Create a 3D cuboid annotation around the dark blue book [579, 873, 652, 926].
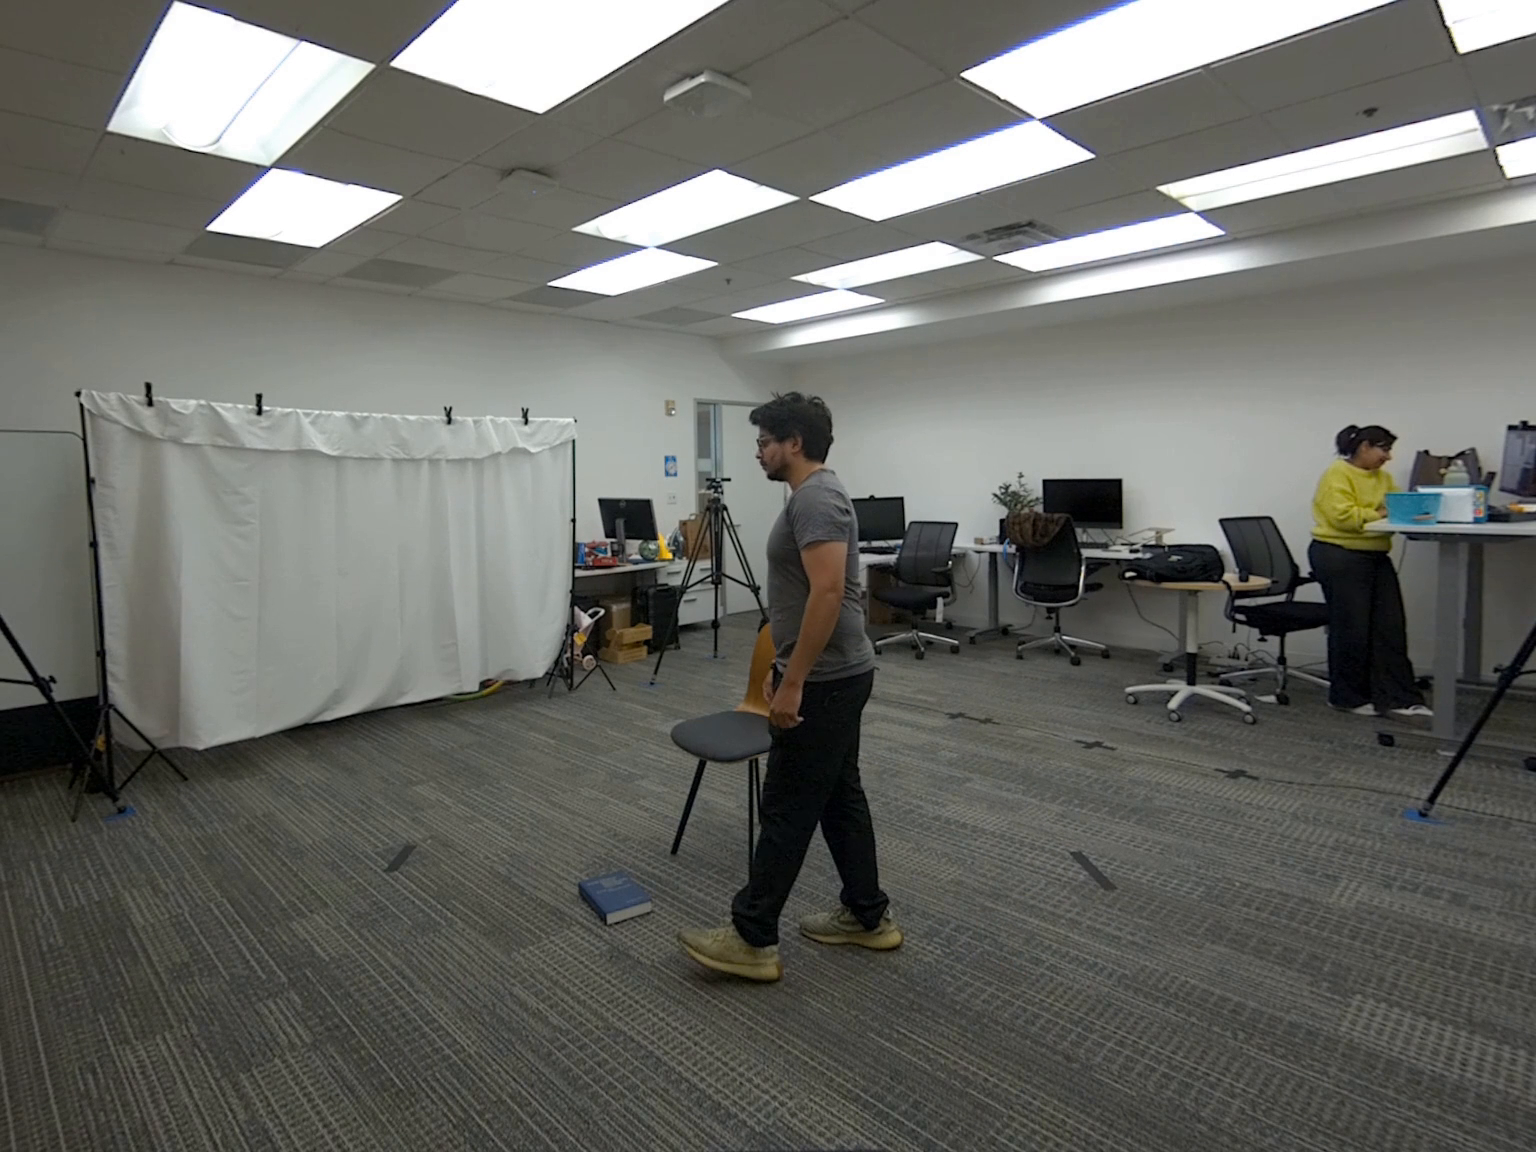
[{"bbox_3d":[-0.500,1.058,2.823,0.159,0.045,0.252,-6,8,-32],"label":"dark blue book"}]
